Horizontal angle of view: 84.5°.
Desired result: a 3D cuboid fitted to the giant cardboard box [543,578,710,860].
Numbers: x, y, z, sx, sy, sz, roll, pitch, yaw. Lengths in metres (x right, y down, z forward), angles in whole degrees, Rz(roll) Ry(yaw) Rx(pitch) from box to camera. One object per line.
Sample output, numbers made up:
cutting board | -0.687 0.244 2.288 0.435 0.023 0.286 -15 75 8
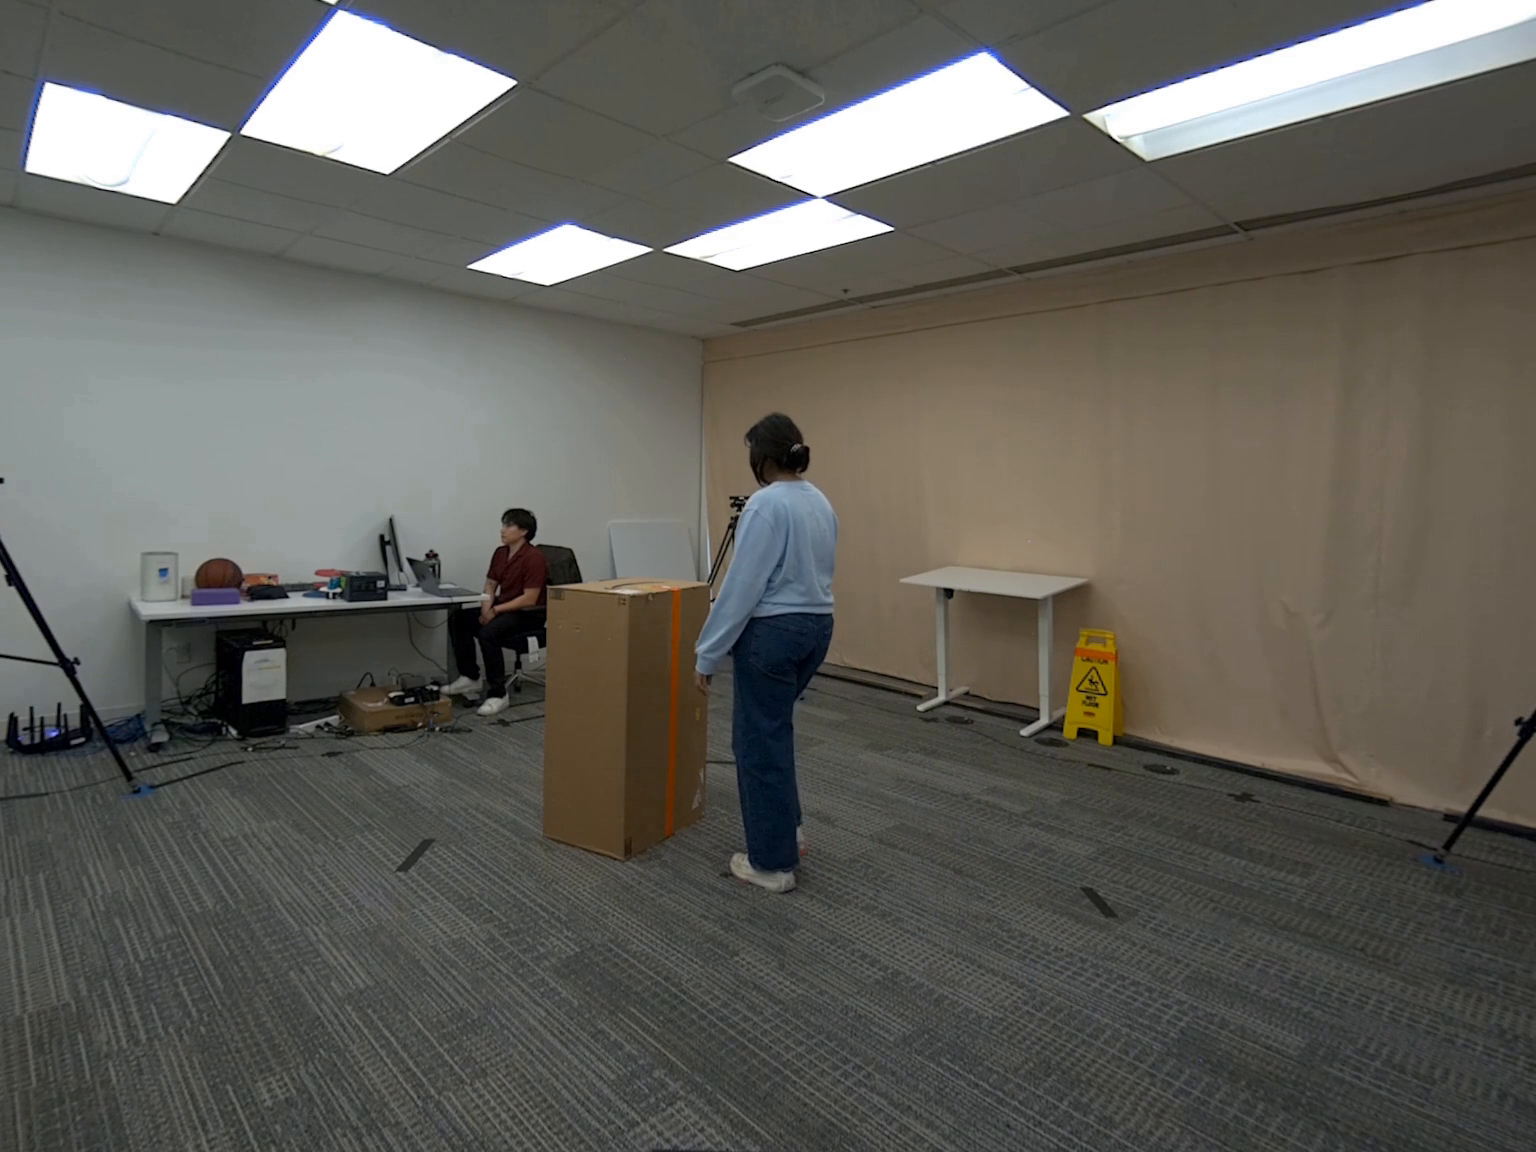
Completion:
giant cardboard box | -0.589 0.546 3.532 0.457 1.025 0.572 4 4 31
